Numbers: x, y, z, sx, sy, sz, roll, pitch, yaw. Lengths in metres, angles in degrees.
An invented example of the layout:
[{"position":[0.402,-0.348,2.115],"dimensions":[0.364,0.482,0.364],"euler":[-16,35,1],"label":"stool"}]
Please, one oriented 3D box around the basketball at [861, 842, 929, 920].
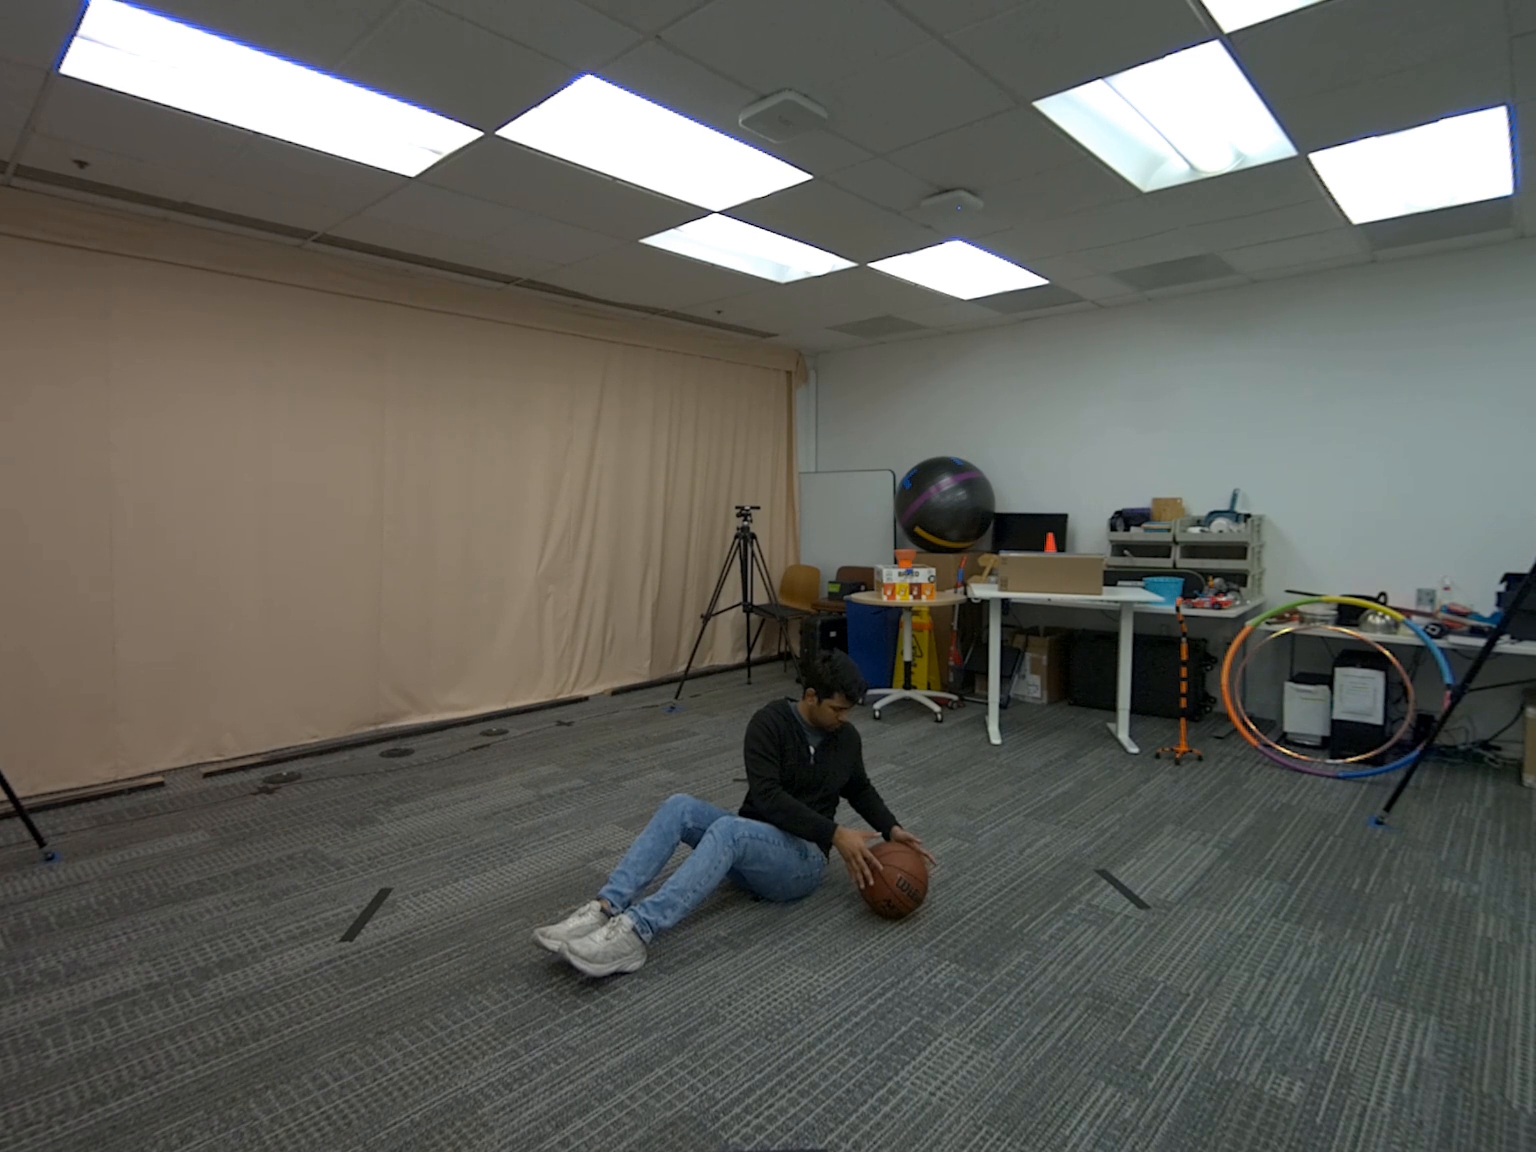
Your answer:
[{"position":[0.427,1.032,2.872],"dimensions":[0.236,0.235,0.237],"euler":[0,4,-2],"label":"basketball"}]
